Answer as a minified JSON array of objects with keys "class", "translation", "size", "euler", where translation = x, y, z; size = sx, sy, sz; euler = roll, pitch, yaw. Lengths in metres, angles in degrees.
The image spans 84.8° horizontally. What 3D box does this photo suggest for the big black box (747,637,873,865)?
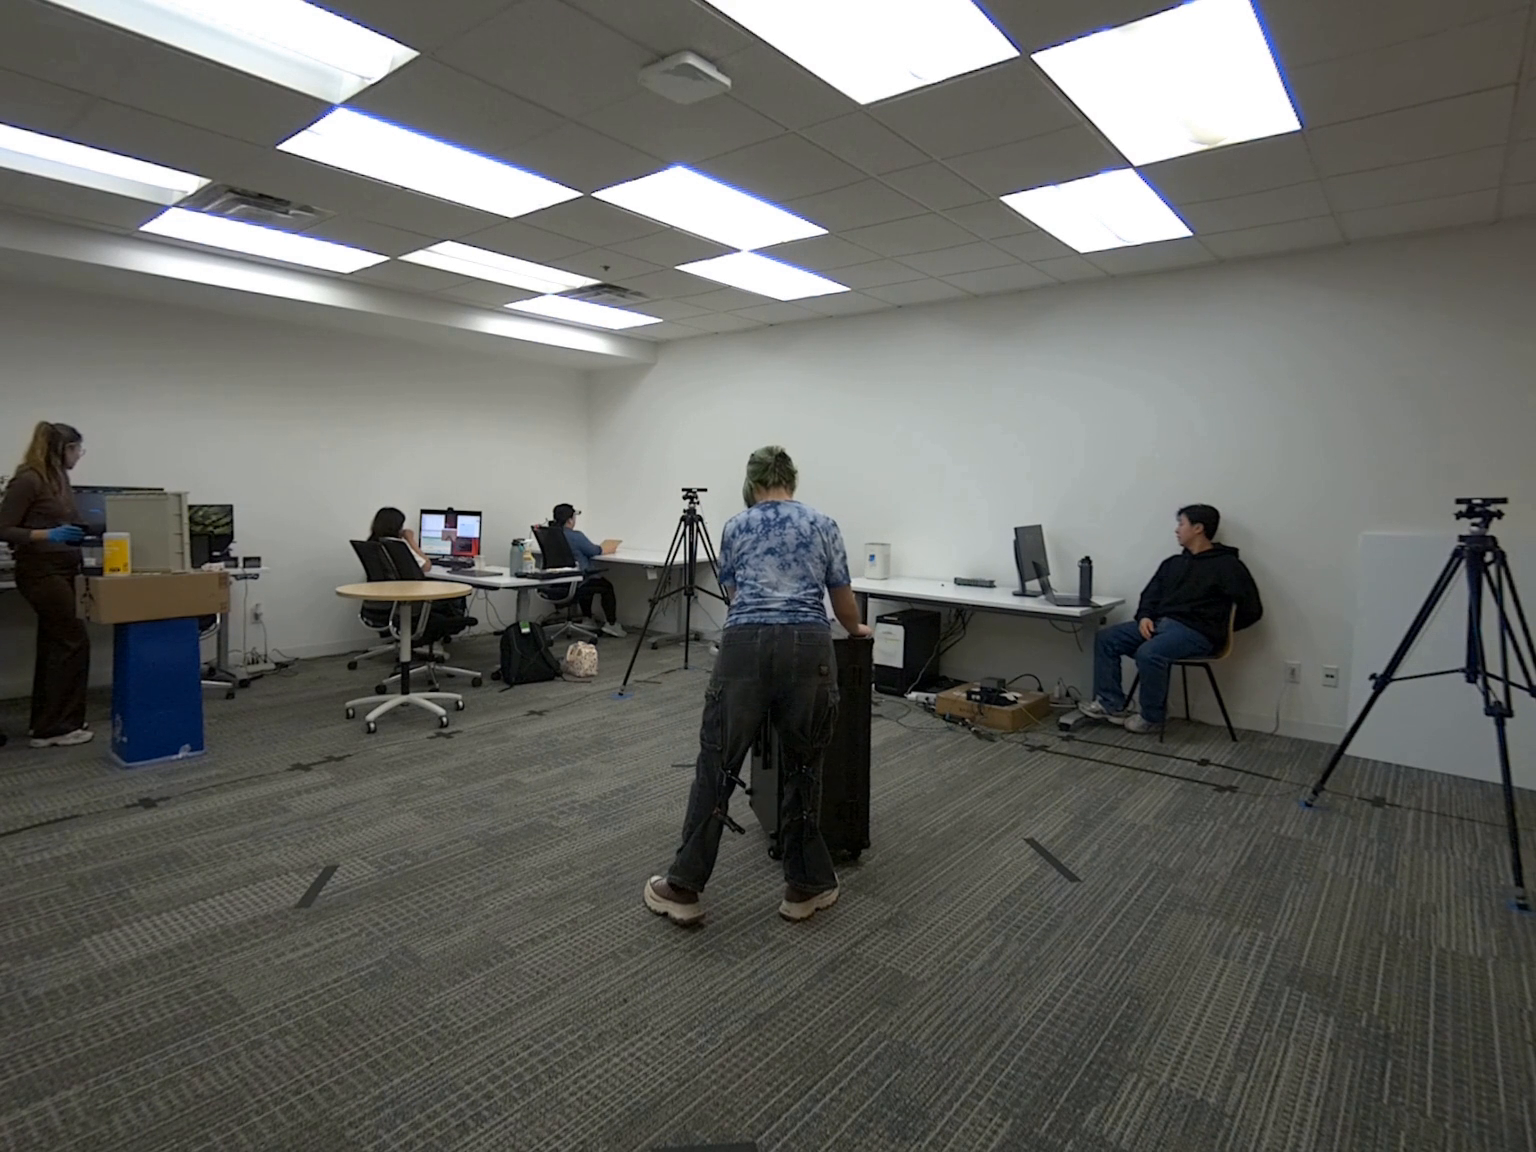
[{"class":"big black box","translation":[0.143,0.637,3.336],"size":[0.392,0.859,0.528],"euler":[0,3,-11]}]
